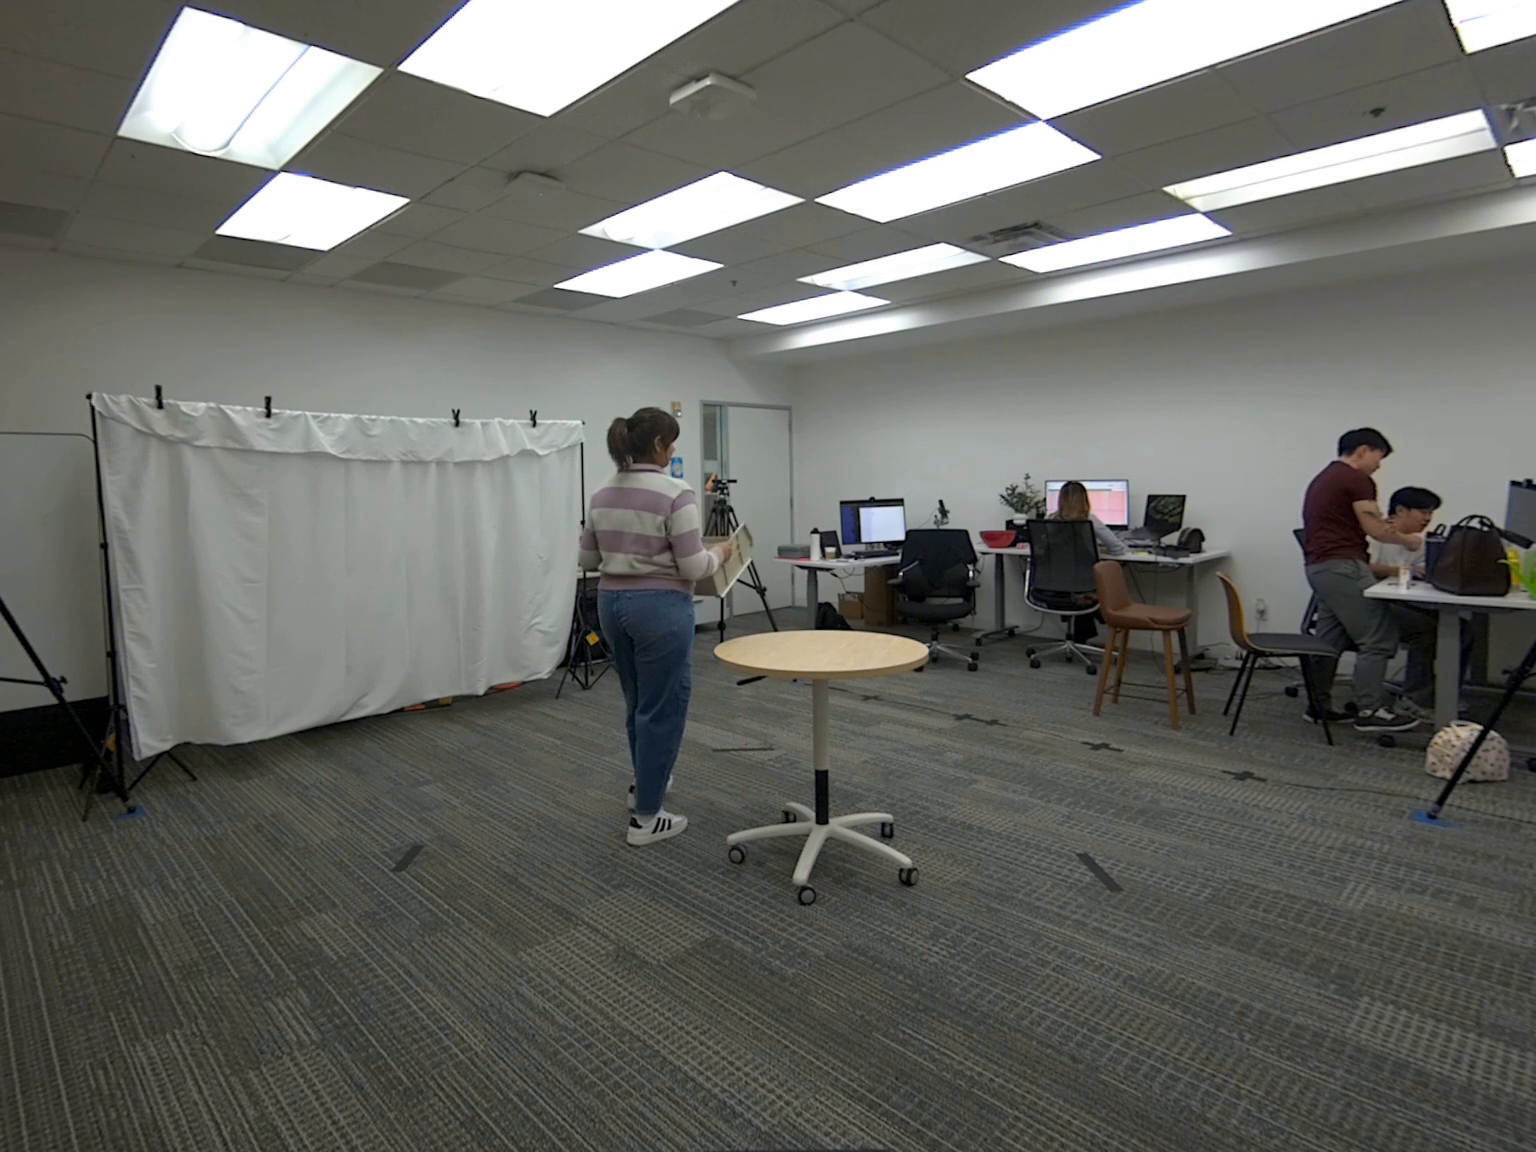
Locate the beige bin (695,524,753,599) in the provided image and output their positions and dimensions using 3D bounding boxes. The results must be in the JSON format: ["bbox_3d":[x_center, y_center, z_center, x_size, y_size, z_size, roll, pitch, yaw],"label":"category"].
[{"bbox_3d":[-0.318,-0.076,3.681,0.432,0.184,0.379,1,32,26],"label":"beige bin"}]
